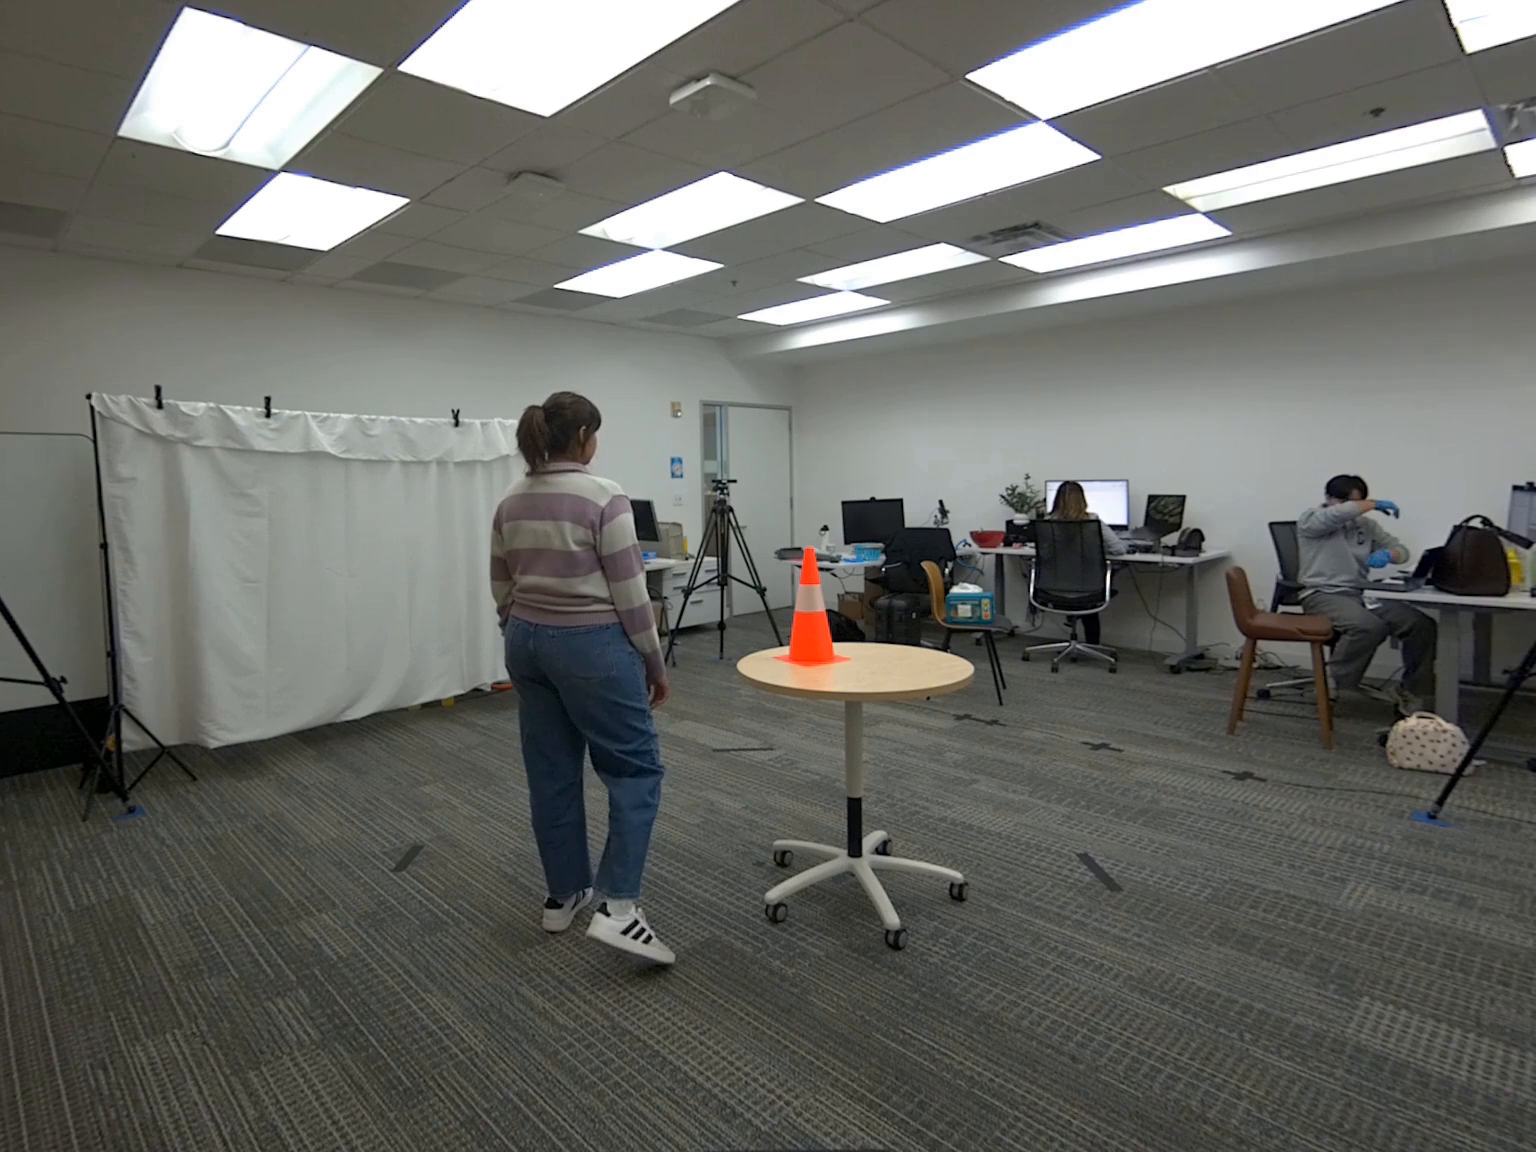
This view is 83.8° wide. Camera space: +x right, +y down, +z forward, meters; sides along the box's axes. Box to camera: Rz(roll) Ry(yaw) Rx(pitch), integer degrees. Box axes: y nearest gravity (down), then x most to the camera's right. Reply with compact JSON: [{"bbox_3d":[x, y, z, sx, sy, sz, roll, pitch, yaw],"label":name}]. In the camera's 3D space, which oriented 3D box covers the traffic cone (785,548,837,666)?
[{"bbox_3d":[0.151,0.098,2.896,0.211,0.382,0.198,3,6,36],"label":"traffic cone"}]
